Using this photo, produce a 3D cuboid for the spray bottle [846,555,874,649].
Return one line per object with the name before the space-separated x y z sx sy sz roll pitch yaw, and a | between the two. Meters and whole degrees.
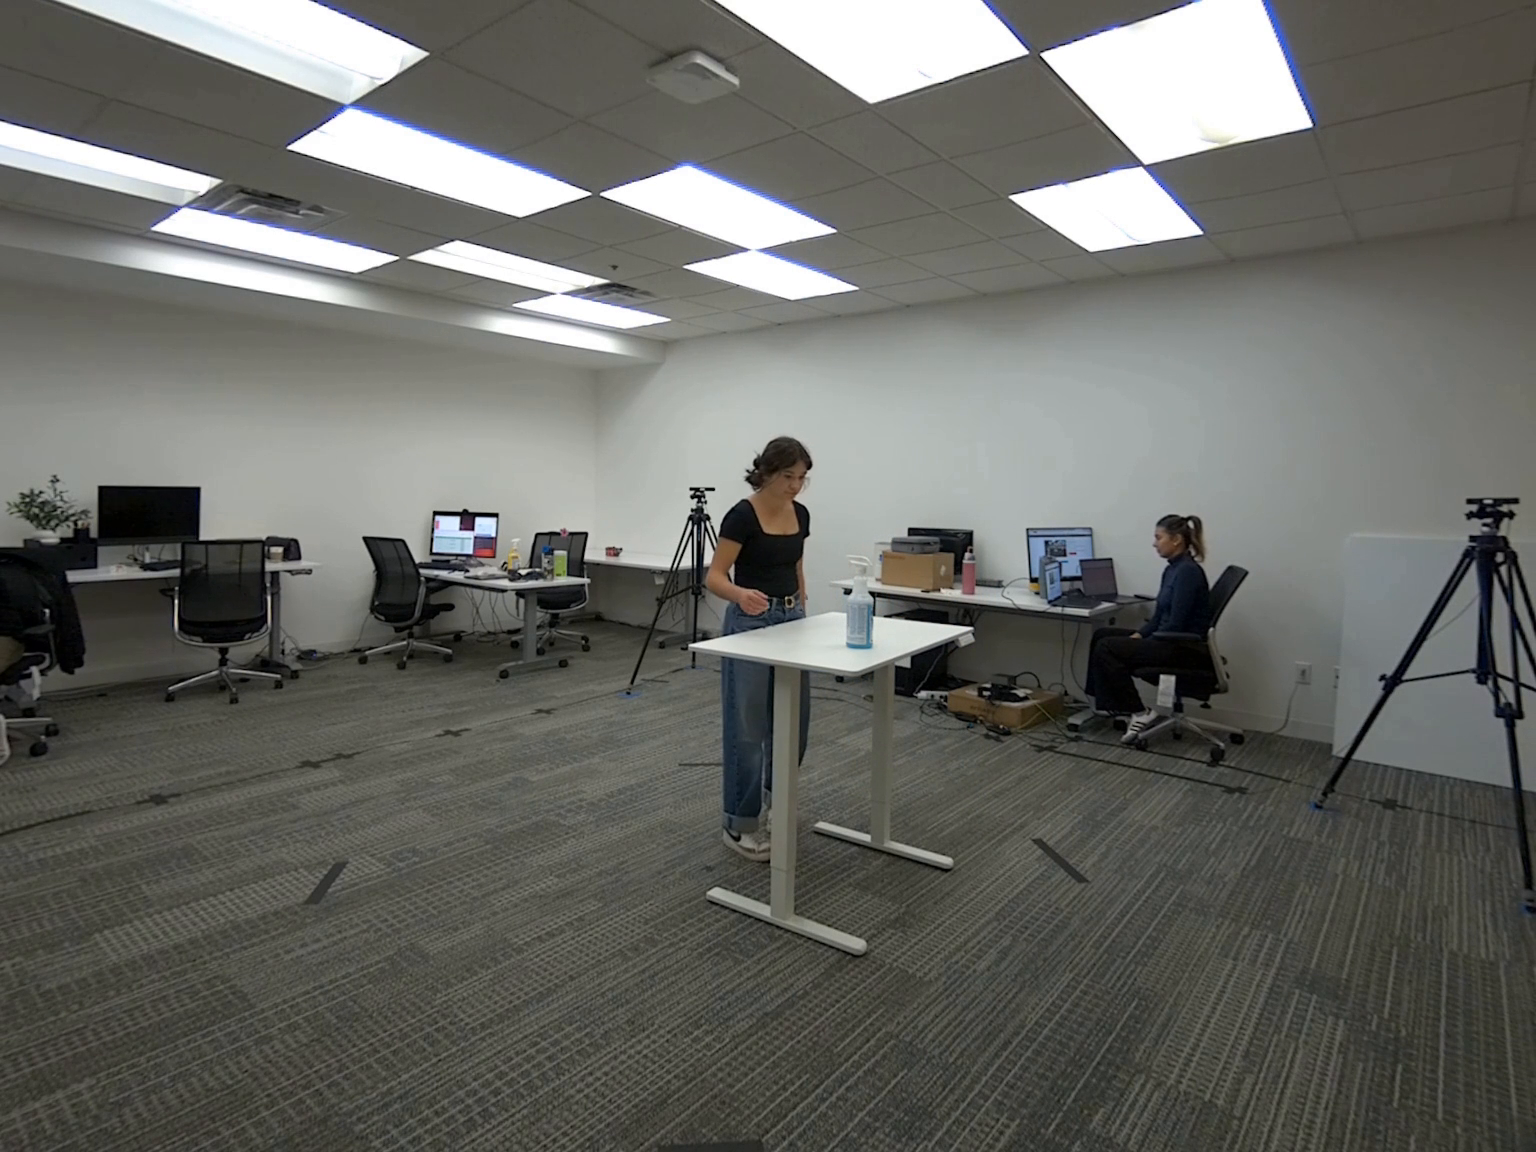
spray bottle | 0.299 0.082 2.770 0.084 0.297 0.093 0 3 -34
